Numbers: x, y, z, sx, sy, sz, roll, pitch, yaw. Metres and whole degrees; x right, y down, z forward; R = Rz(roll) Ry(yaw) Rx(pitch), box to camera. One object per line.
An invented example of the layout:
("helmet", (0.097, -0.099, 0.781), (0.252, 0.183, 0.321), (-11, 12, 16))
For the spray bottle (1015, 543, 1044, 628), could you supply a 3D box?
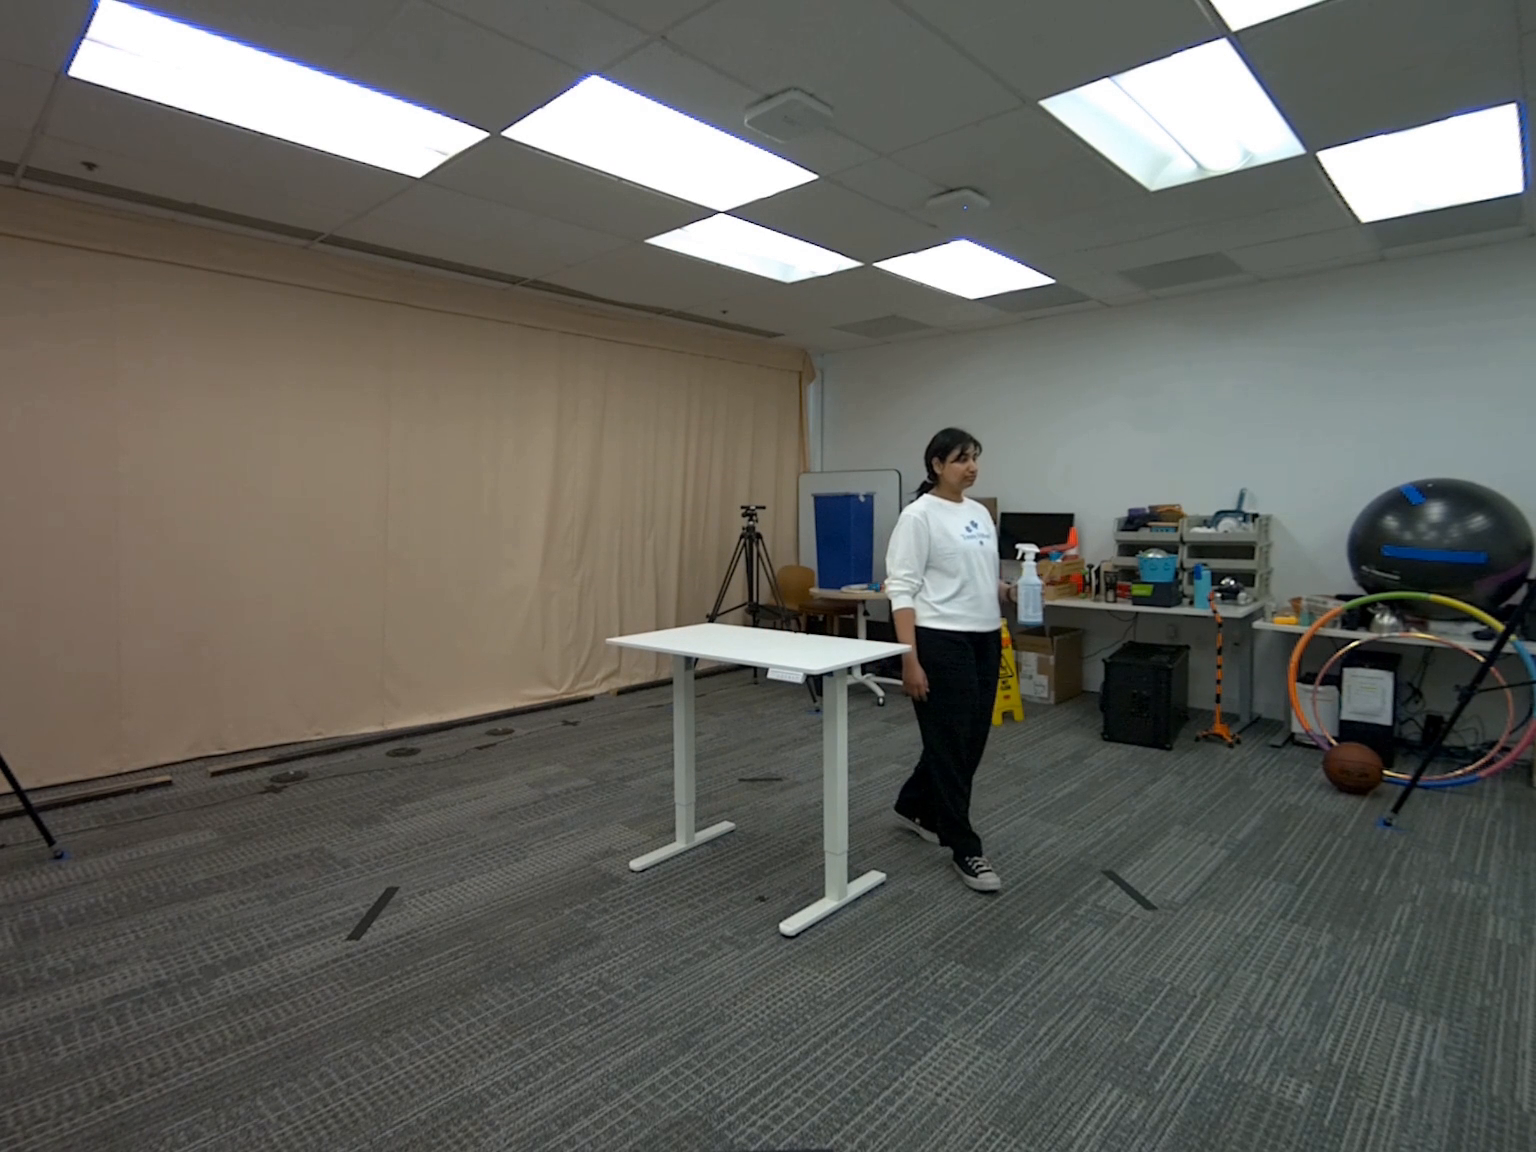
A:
("spray bottle", (0.953, 0.031, 3.107), (0.091, 0.297, 0.086), (-2, 3, 16))
